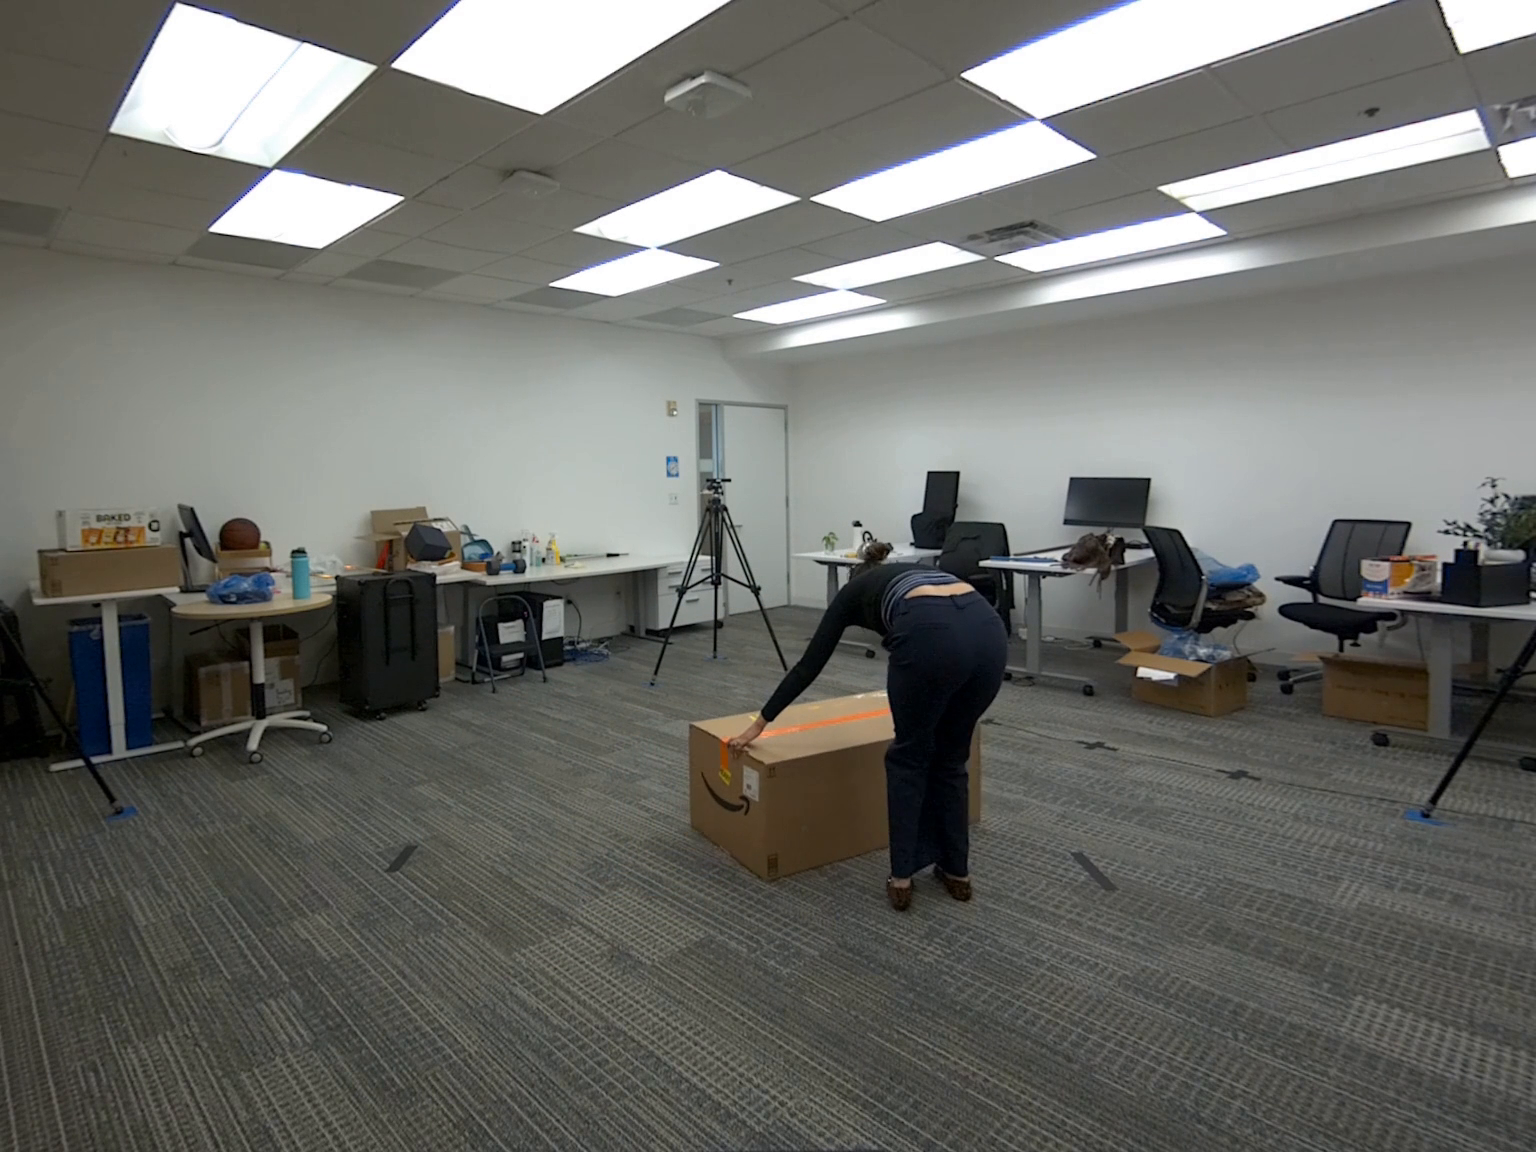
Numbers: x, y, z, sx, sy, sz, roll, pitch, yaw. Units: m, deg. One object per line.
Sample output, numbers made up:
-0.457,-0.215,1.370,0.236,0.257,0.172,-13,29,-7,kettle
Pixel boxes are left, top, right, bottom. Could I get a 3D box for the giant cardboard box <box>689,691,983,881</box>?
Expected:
0.266,0.787,3.431,1.002,0.424,0.593,-4,6,-30,giant cardboard box
